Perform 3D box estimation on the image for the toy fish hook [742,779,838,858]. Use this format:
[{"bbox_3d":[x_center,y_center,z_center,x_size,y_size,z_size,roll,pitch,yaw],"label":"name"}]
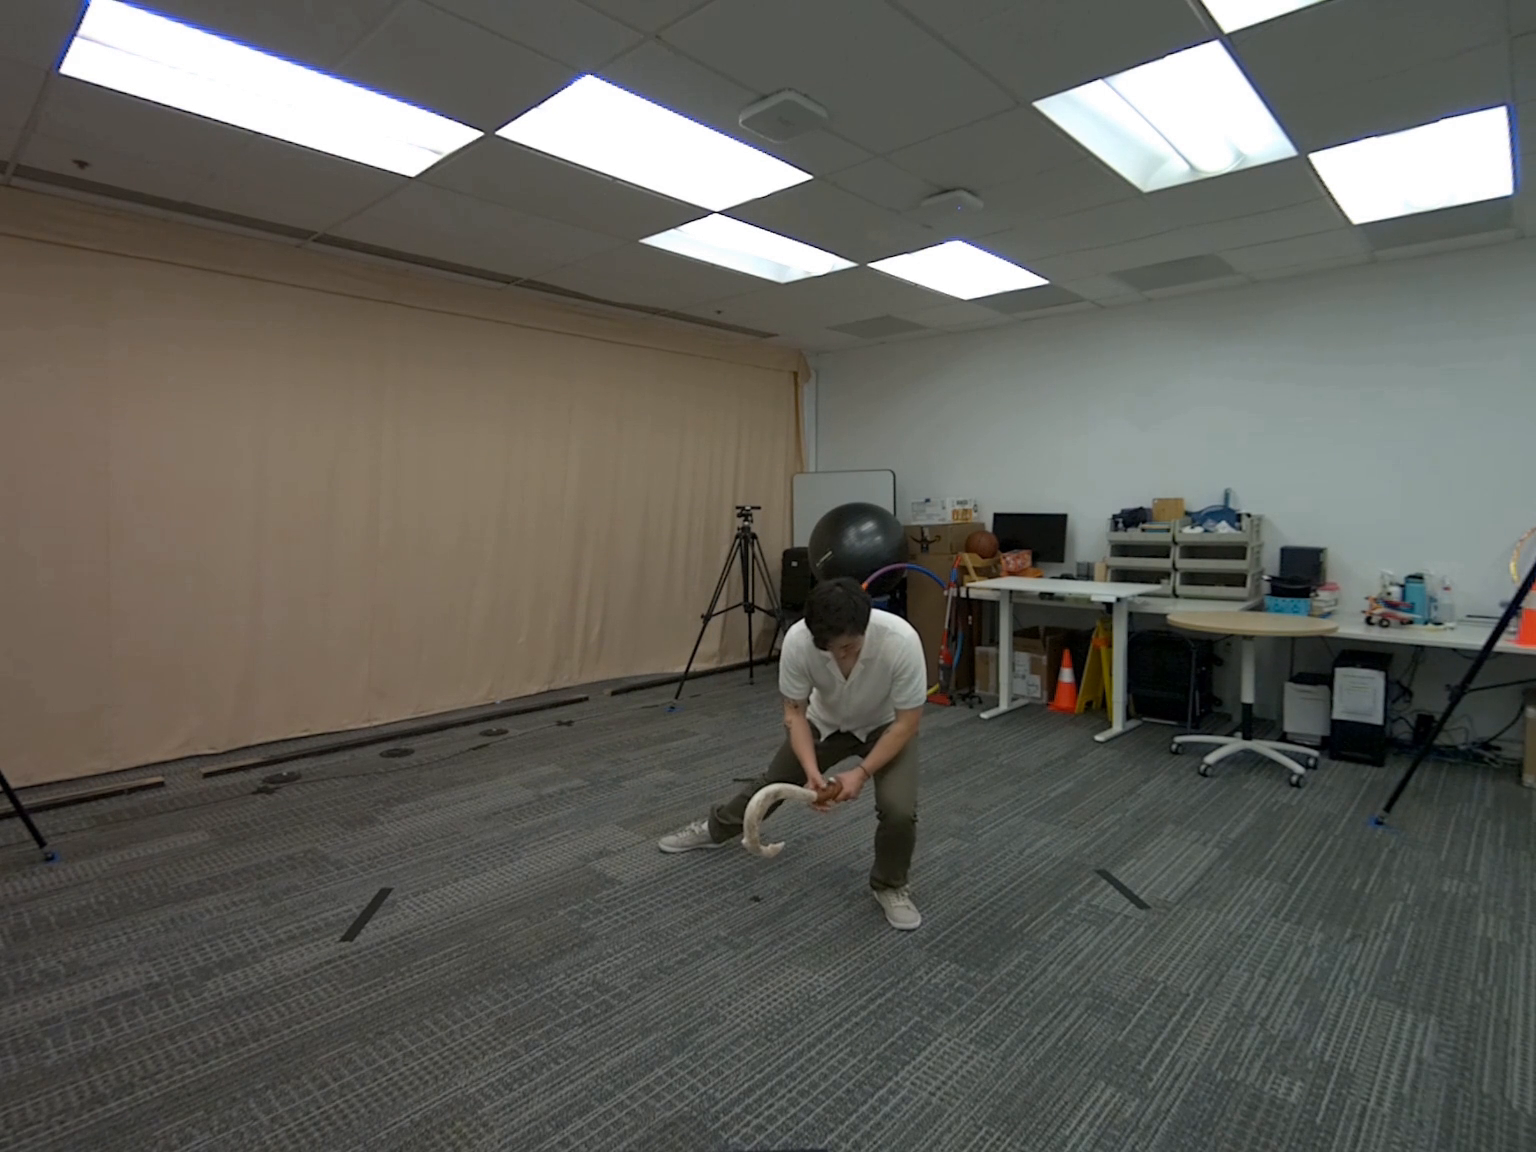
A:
[{"bbox_3d":[0.103,0.736,2.588,0.489,0.224,0.050,6,8,-44],"label":"toy fish hook"}]
